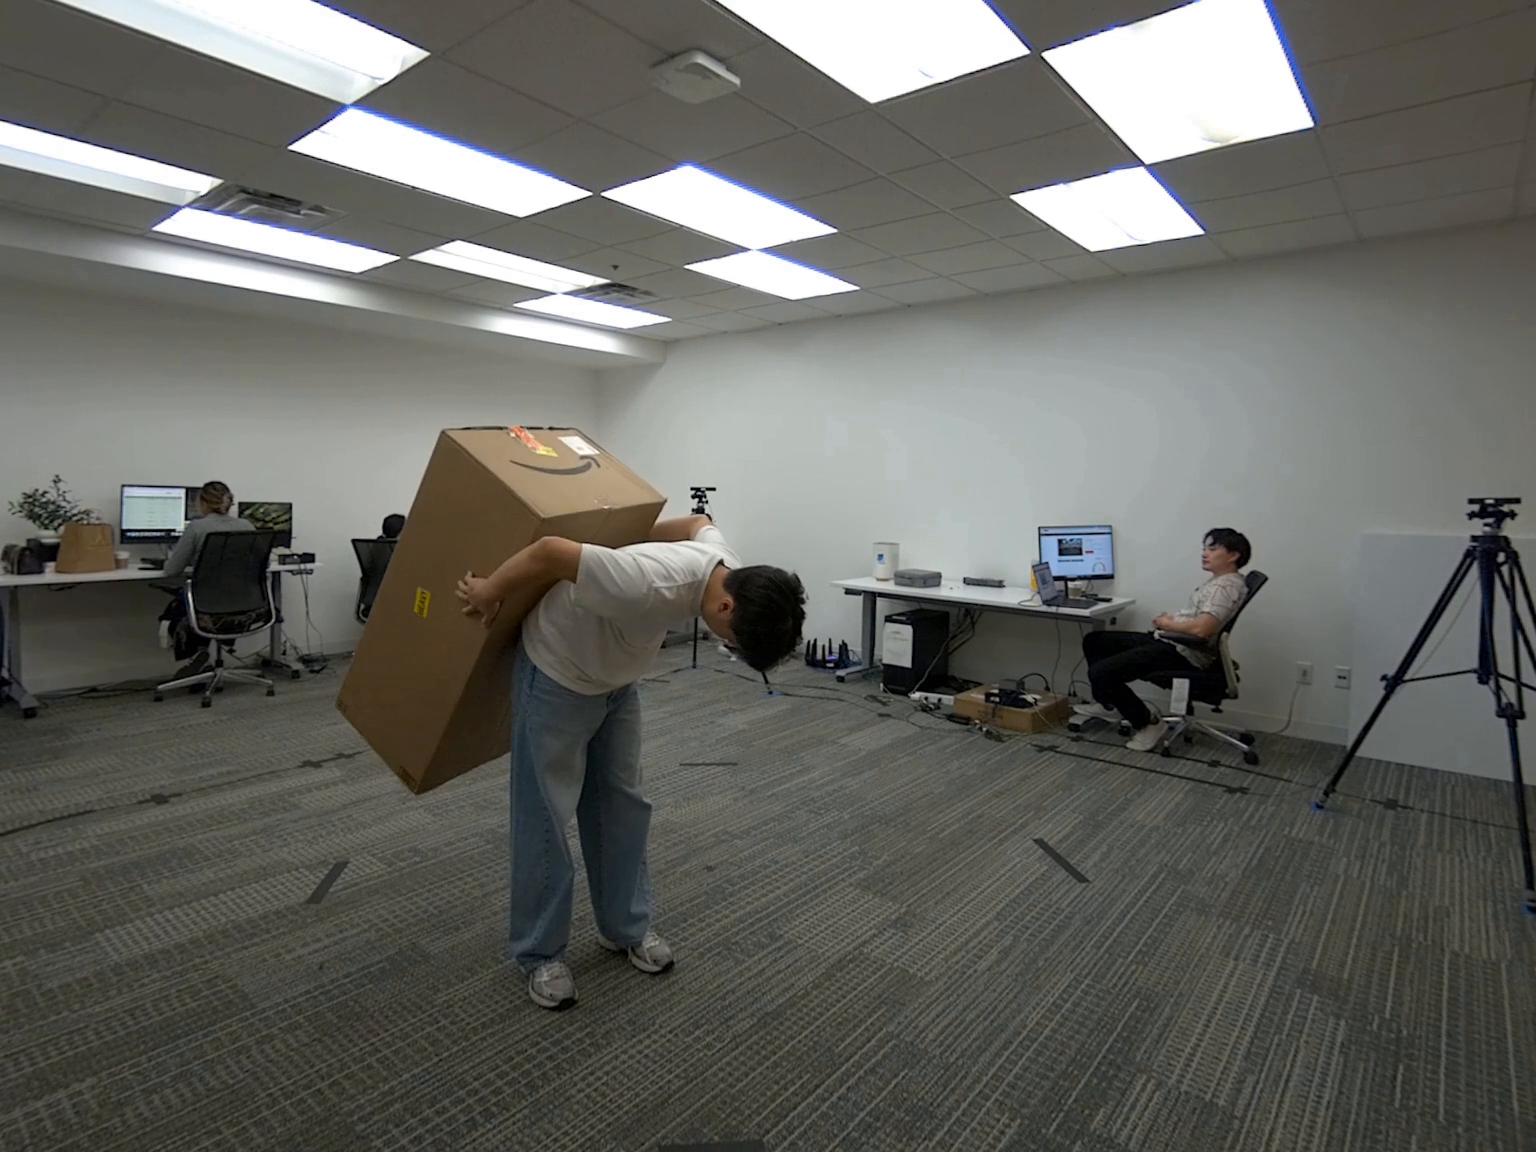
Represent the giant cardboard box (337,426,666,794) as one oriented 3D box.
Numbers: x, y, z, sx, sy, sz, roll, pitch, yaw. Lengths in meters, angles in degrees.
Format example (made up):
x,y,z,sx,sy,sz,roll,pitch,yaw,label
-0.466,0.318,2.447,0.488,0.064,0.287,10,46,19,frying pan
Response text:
x,y,z,sx,sy,sz,roll,pitch,yaw,label
-0.851,0.081,2.655,0.438,1.019,0.566,39,23,18,giant cardboard box
